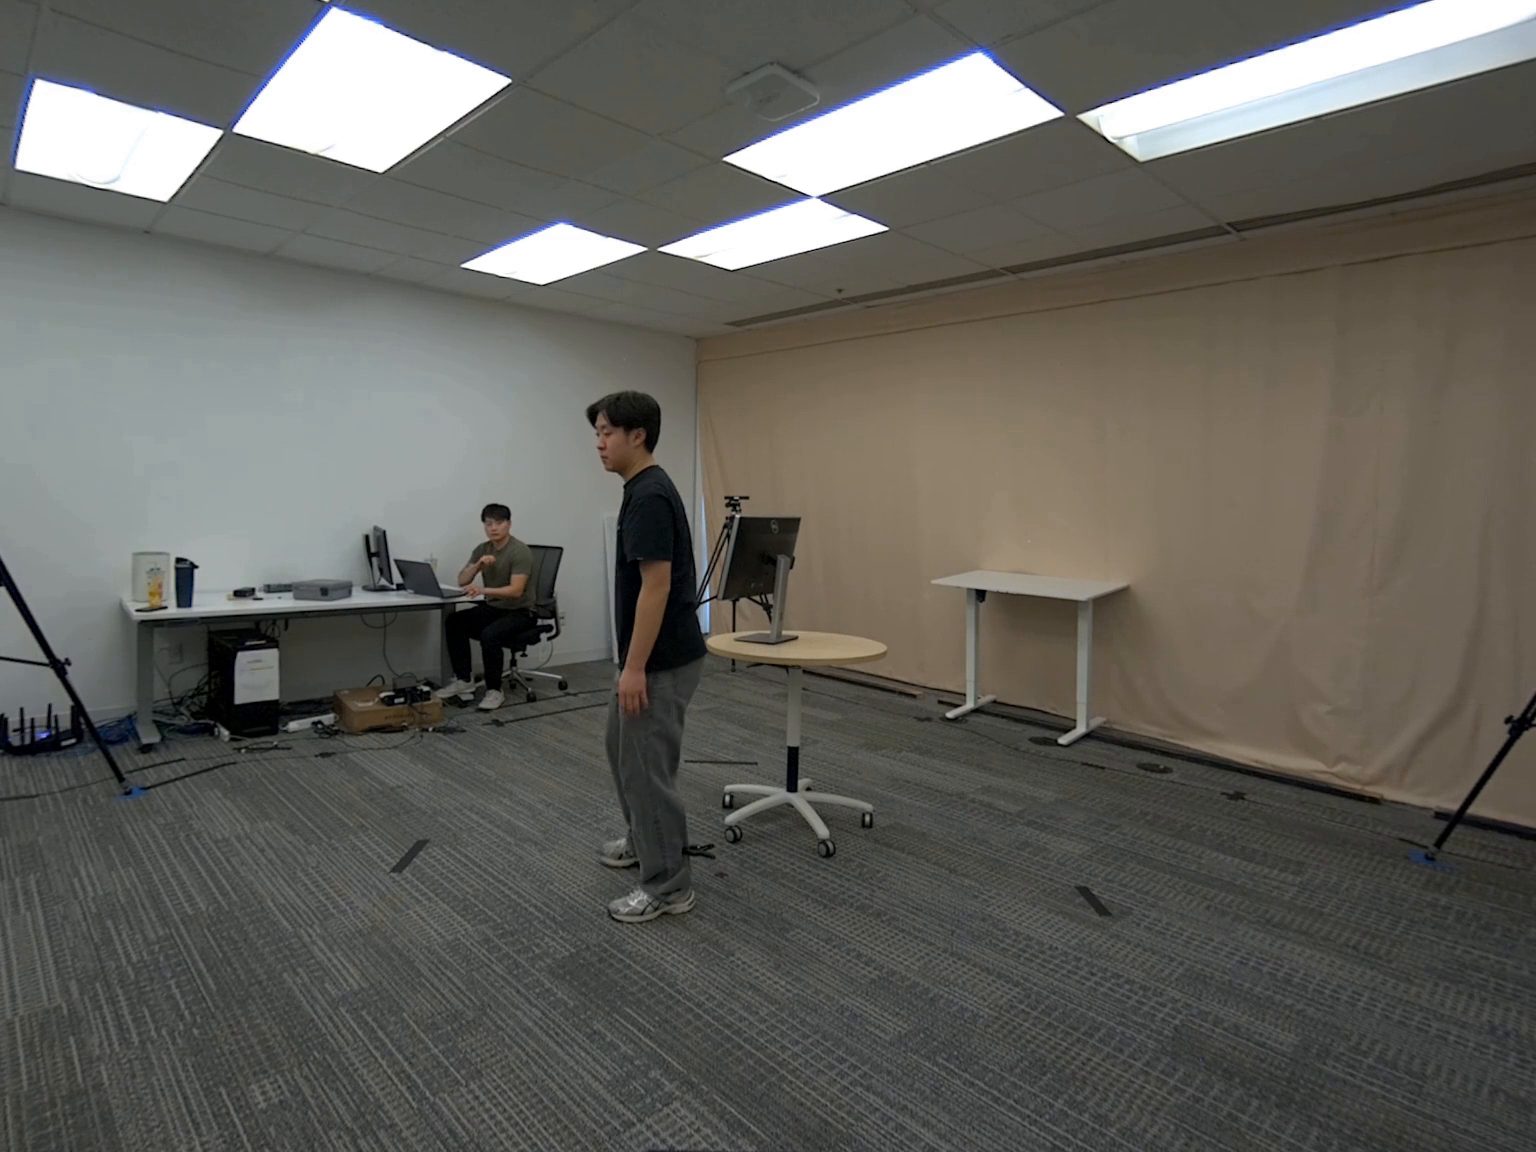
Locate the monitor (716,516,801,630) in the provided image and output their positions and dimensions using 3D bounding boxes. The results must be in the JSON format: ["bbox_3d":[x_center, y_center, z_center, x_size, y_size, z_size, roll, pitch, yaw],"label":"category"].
[{"bbox_3d":[-0.013,0.018,3.673,0.227,0.565,0.550,0,2,32],"label":"monitor"}]
